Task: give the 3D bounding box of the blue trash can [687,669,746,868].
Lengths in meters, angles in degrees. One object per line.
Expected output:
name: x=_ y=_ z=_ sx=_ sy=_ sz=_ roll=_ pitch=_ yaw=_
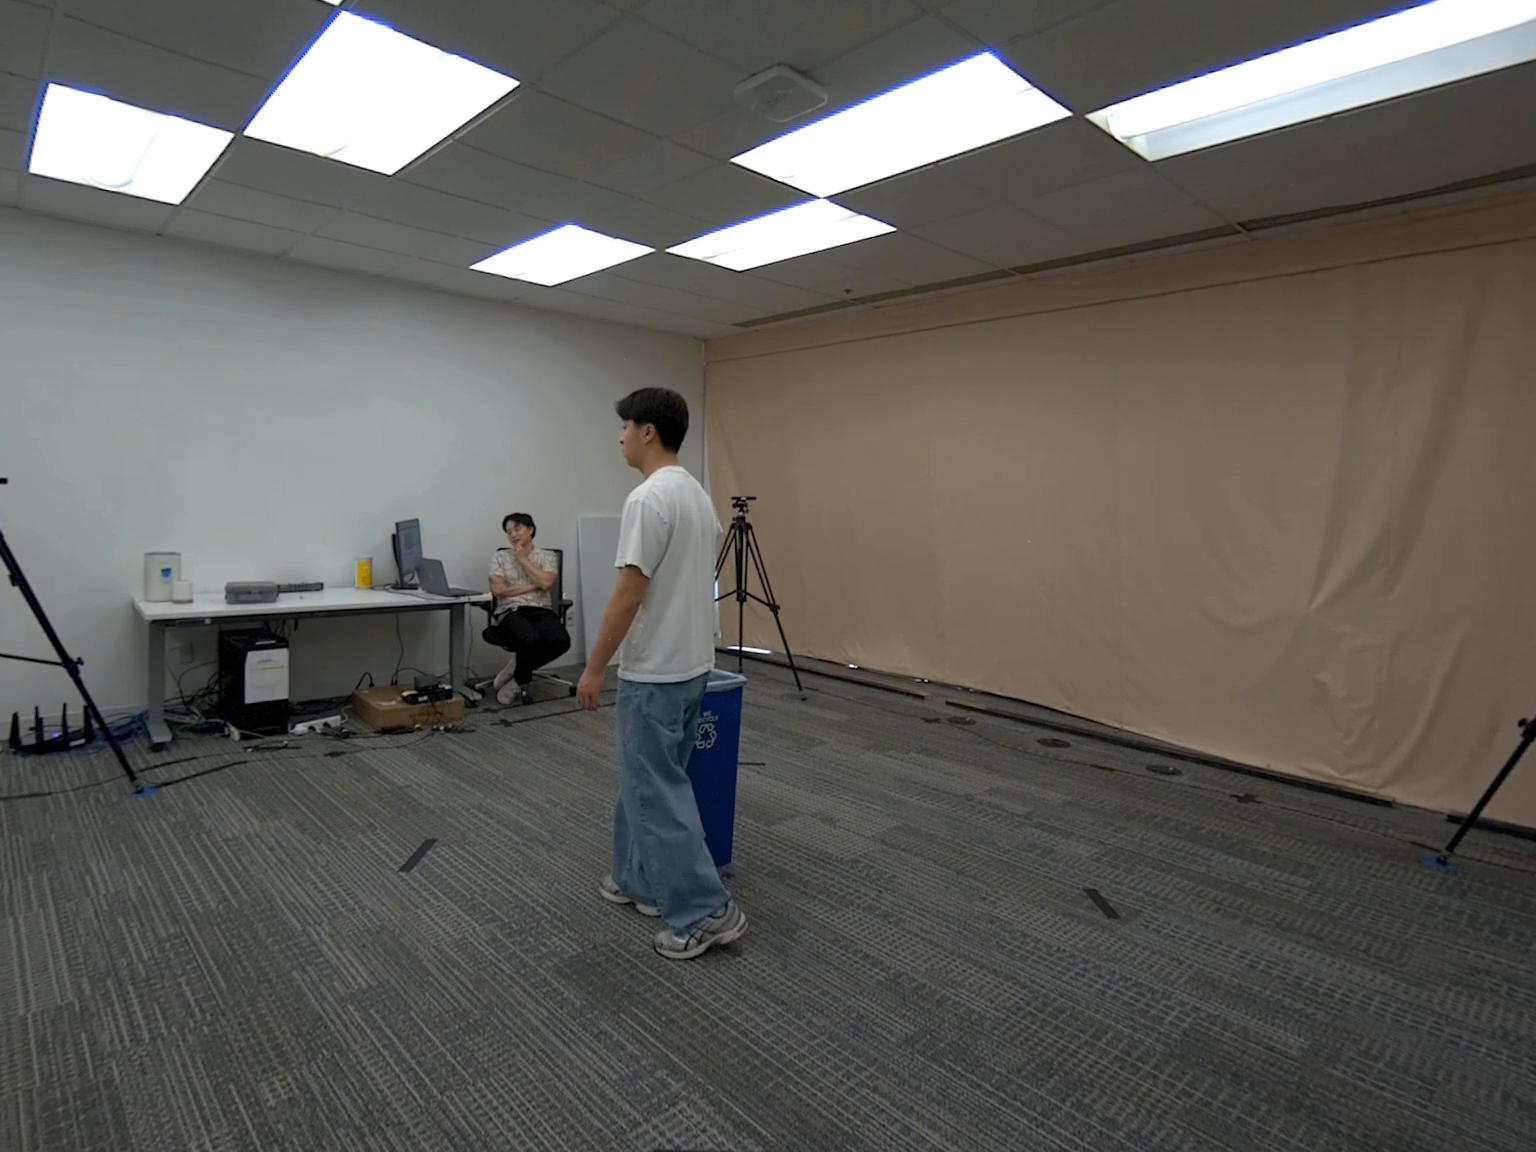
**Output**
blue trash can: x=-0.336 y=0.733 z=3.229 sx=0.365 sy=0.711 sz=0.388 roll=-2 pitch=5 yaw=-43
